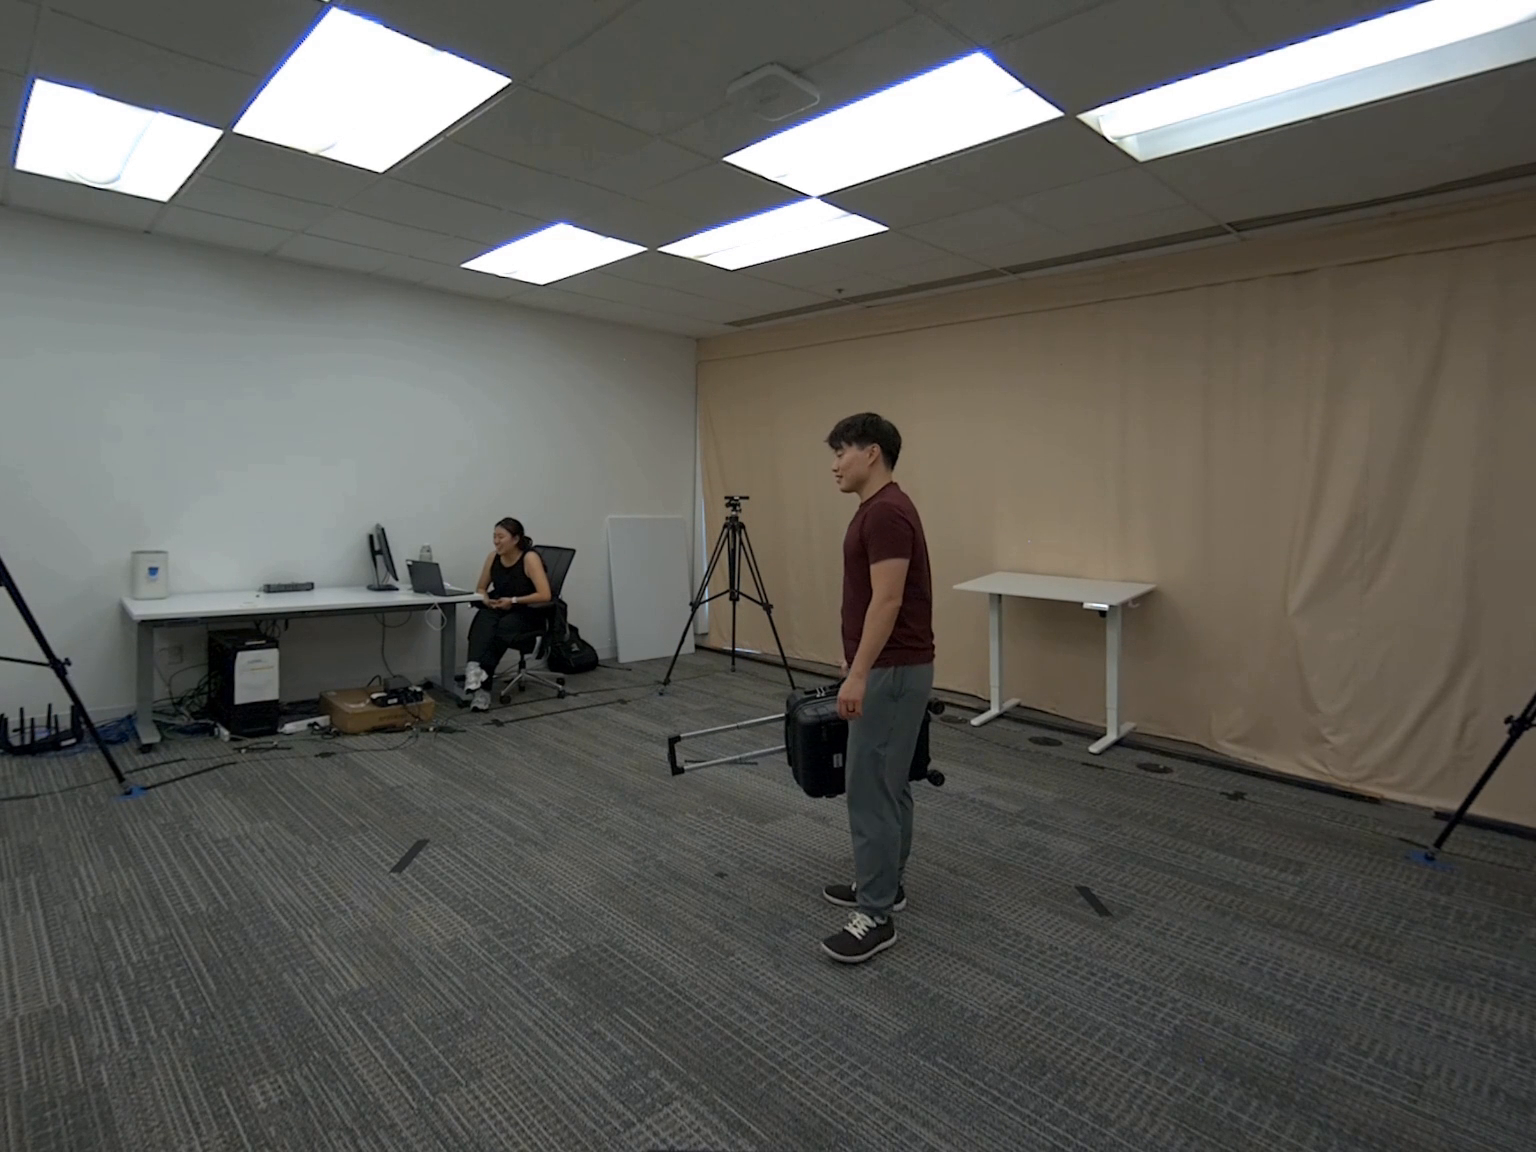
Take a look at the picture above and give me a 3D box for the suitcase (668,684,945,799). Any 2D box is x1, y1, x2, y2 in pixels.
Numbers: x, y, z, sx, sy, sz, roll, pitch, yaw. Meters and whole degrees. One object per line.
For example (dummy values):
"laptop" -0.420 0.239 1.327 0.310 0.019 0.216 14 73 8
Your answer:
"suitcase" 0.135 0.608 3.072 0.970 0.379 0.262 -8 16 -12
